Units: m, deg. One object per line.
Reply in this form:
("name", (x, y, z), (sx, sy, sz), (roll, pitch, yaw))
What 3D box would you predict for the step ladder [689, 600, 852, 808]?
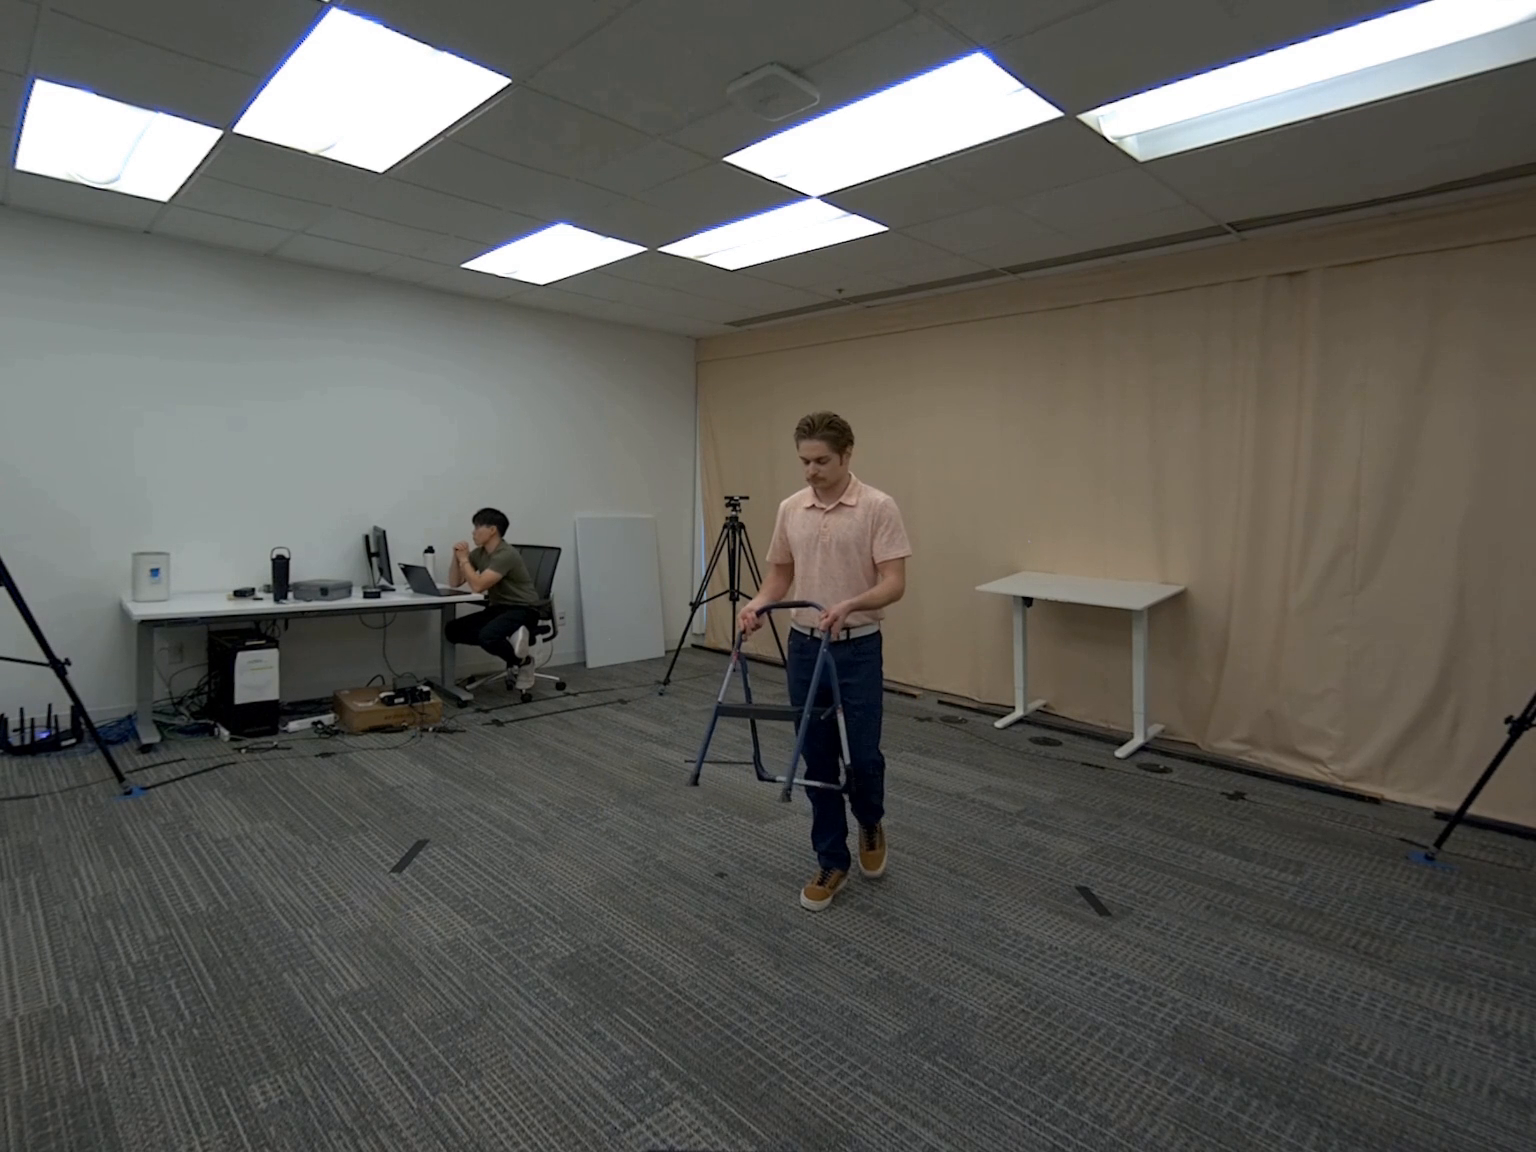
("step ladder", (0.012, 0.386, 2.709), (0.440, 0.609, 0.340), (-6, -11, 44))
